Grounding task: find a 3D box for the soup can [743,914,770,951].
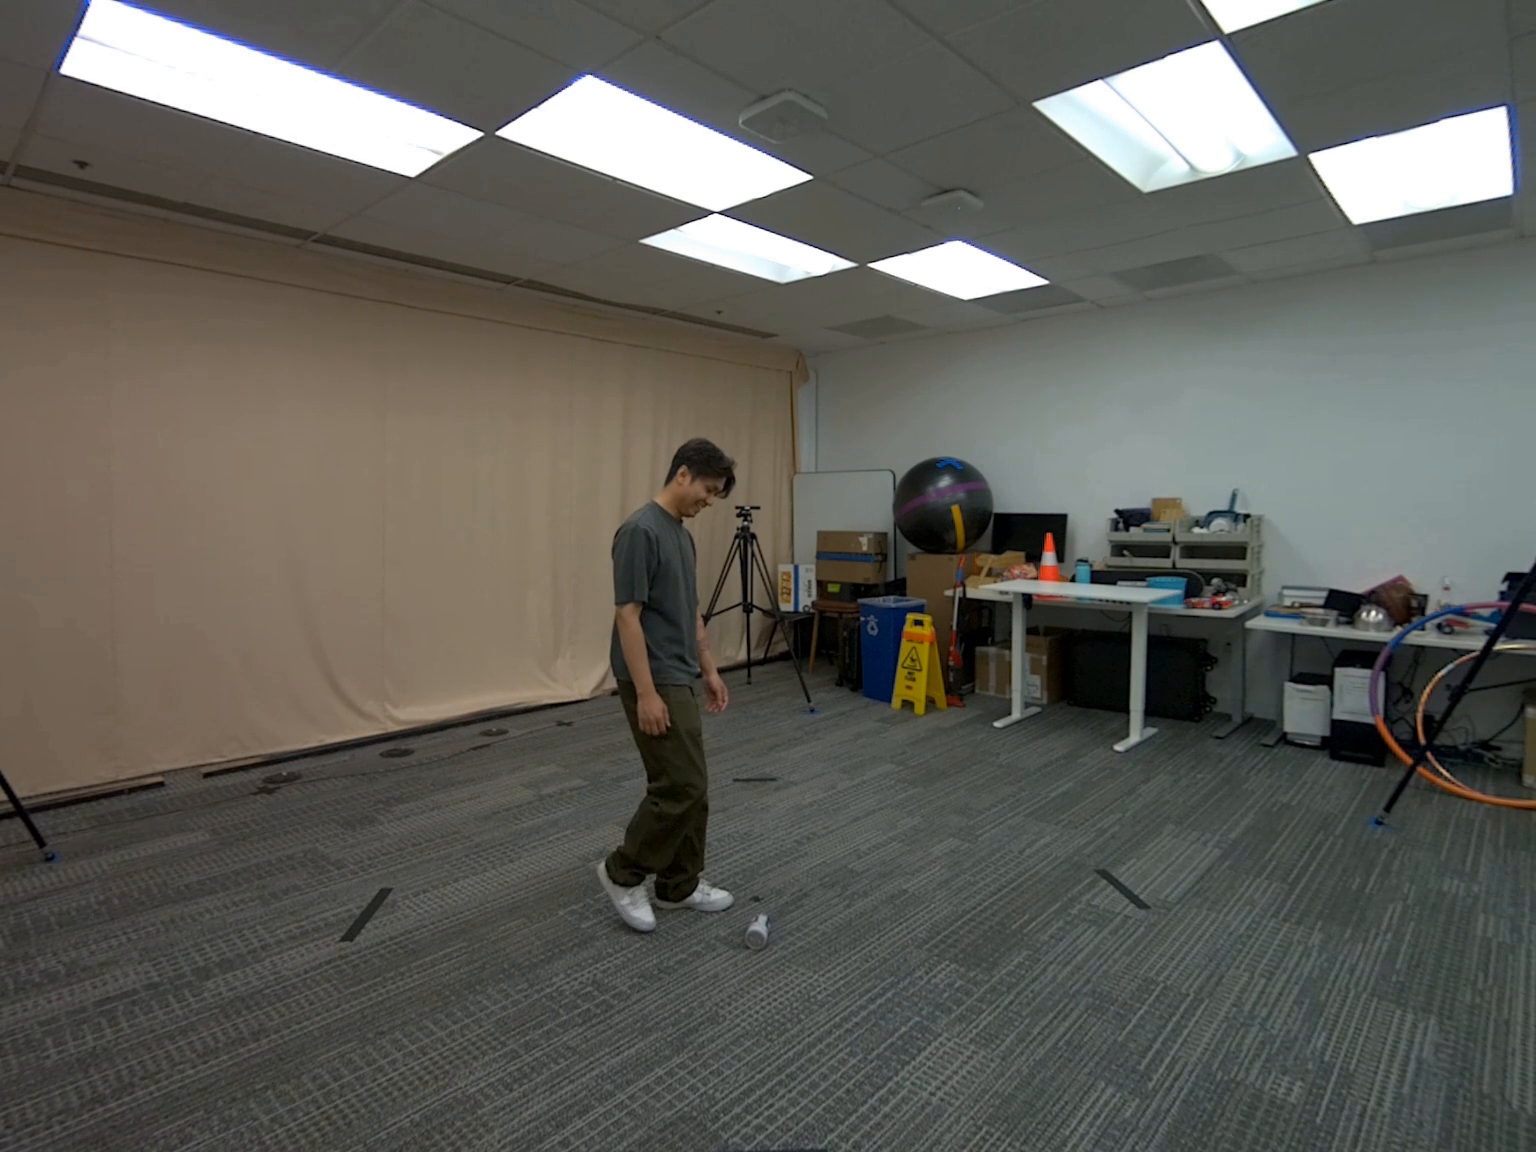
[{"bbox_3d":[-0.029,1.132,2.679,0.067,0.067,0.120,0,-1,5],"label":"soup can"}]
